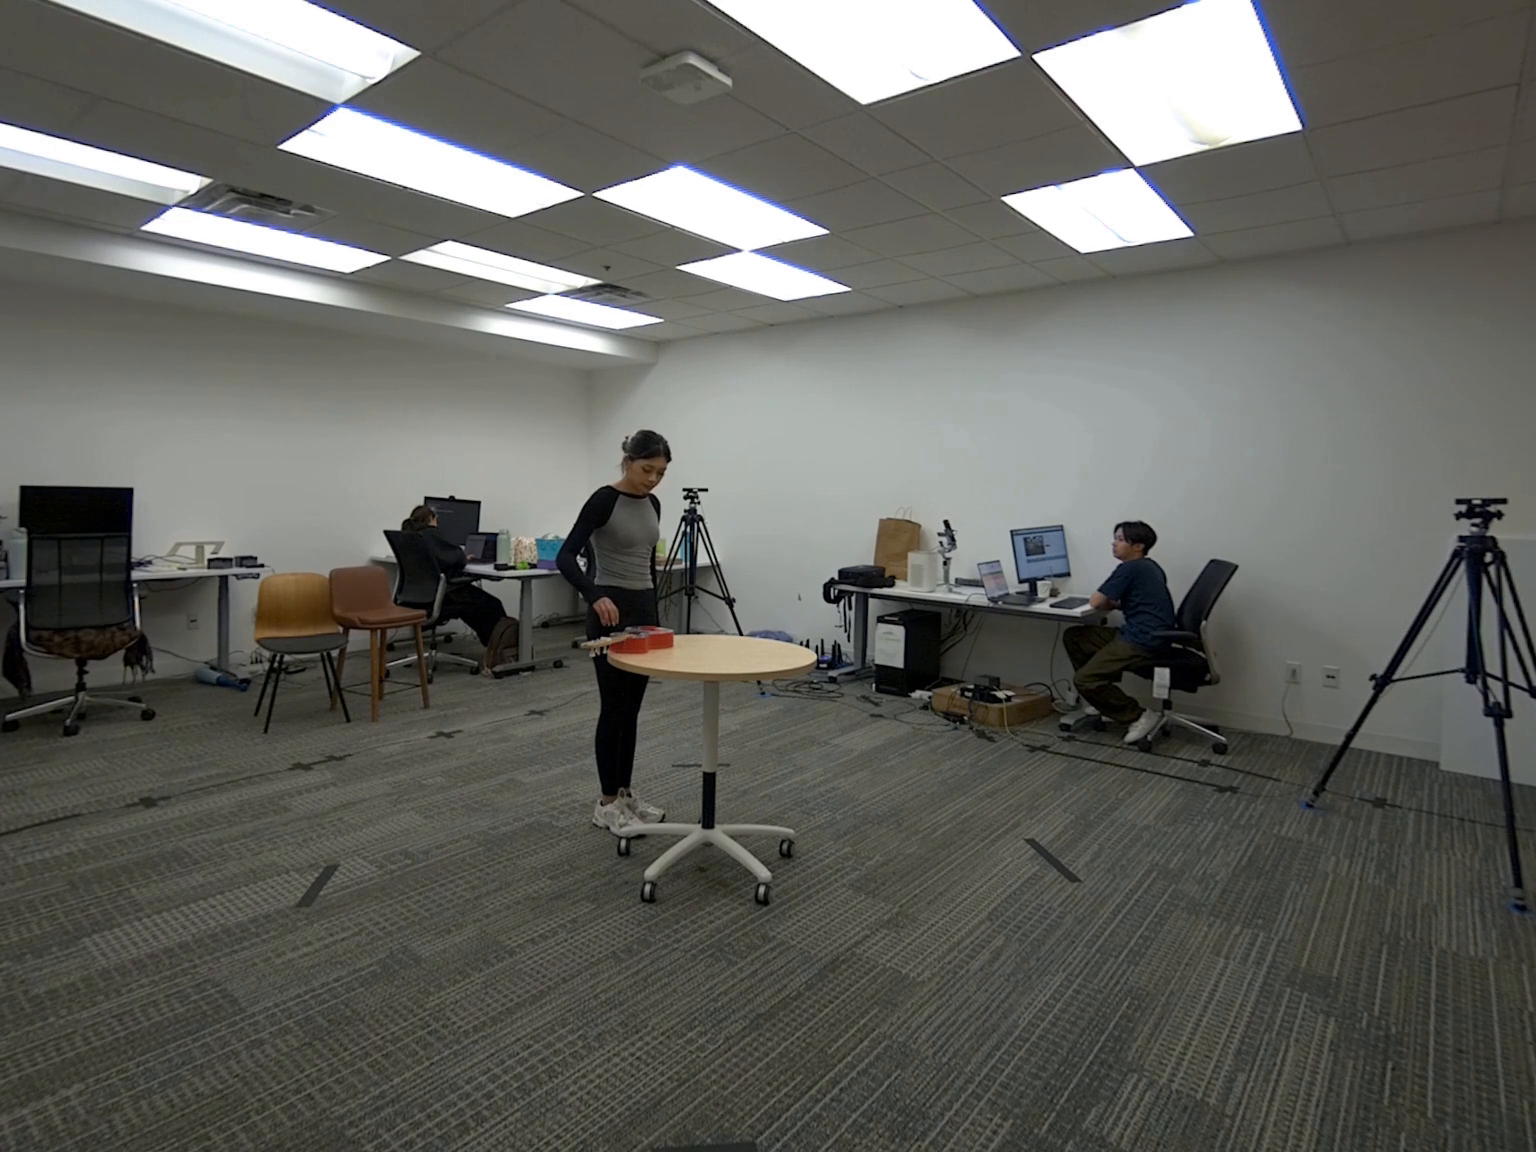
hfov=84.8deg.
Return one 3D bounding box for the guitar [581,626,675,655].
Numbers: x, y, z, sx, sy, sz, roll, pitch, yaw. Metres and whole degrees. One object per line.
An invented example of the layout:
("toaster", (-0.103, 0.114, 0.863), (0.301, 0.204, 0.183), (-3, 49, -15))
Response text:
("guitar", (-0.555, 0.239, 3.071), (0.199, 0.070, 0.484), (4, 6, 32))
